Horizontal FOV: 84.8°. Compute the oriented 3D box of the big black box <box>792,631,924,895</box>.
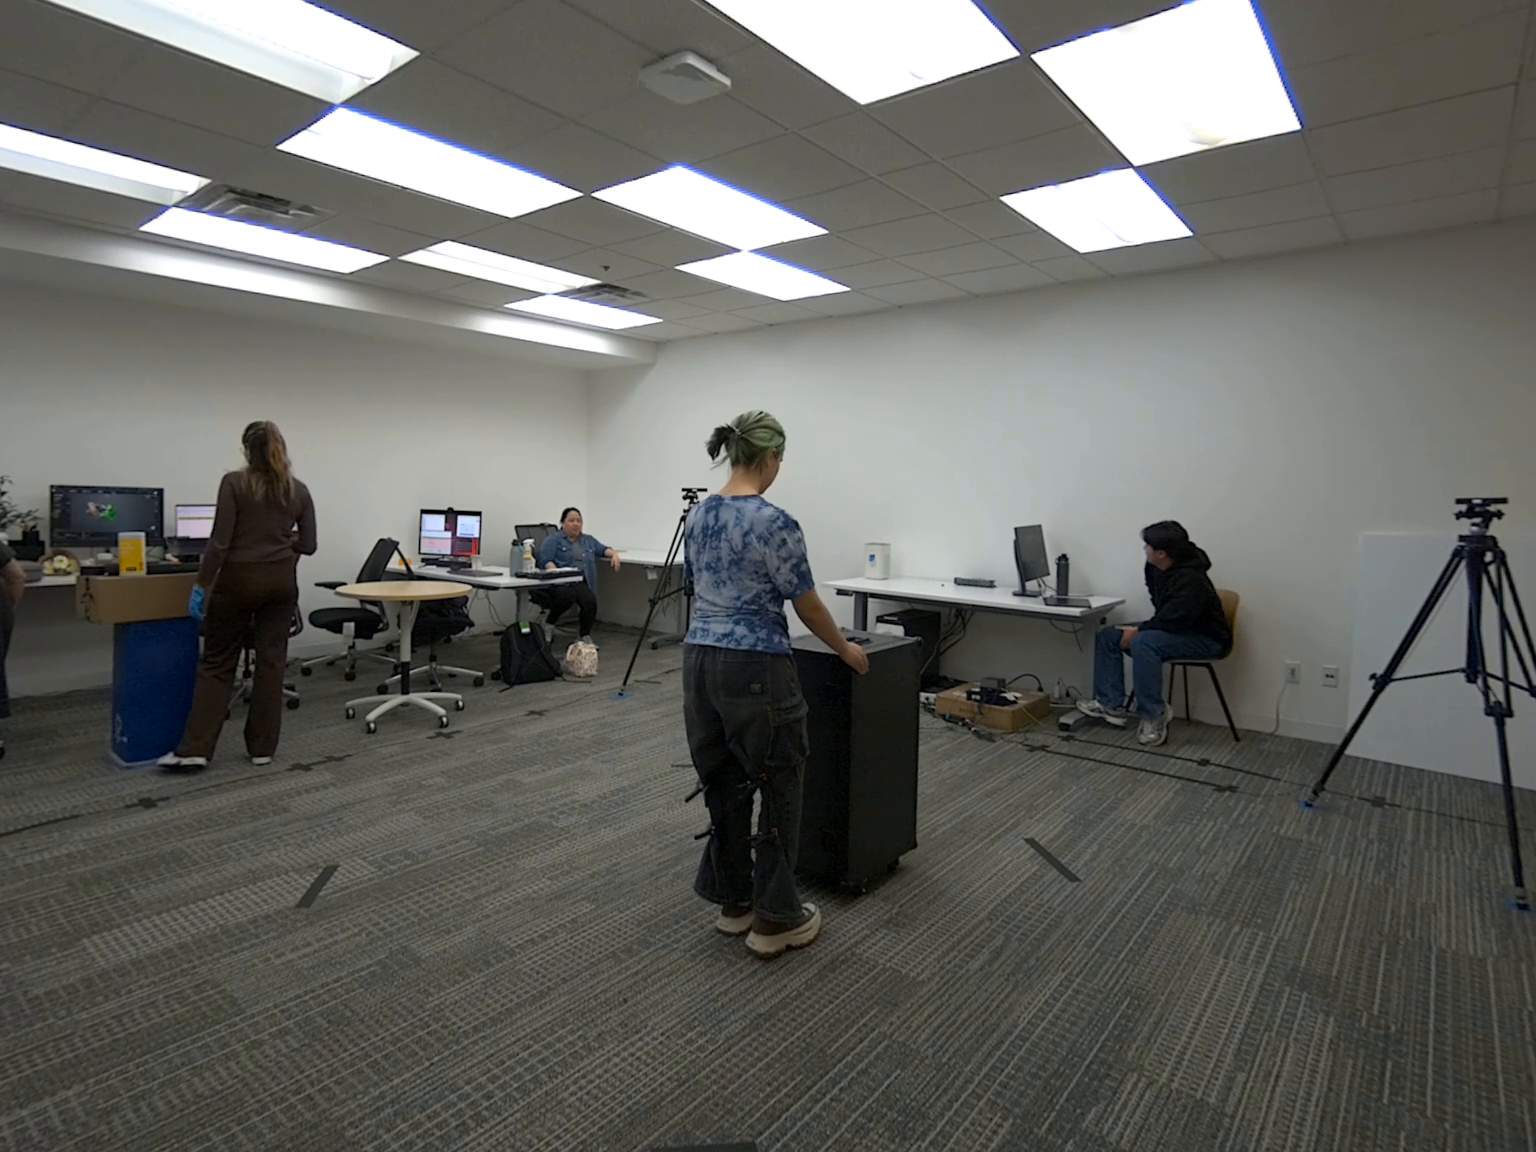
[{"bbox_3d":[0.258,0.658,3.092,0.409,0.859,0.506,3,4,39],"label":"big black box"}]
